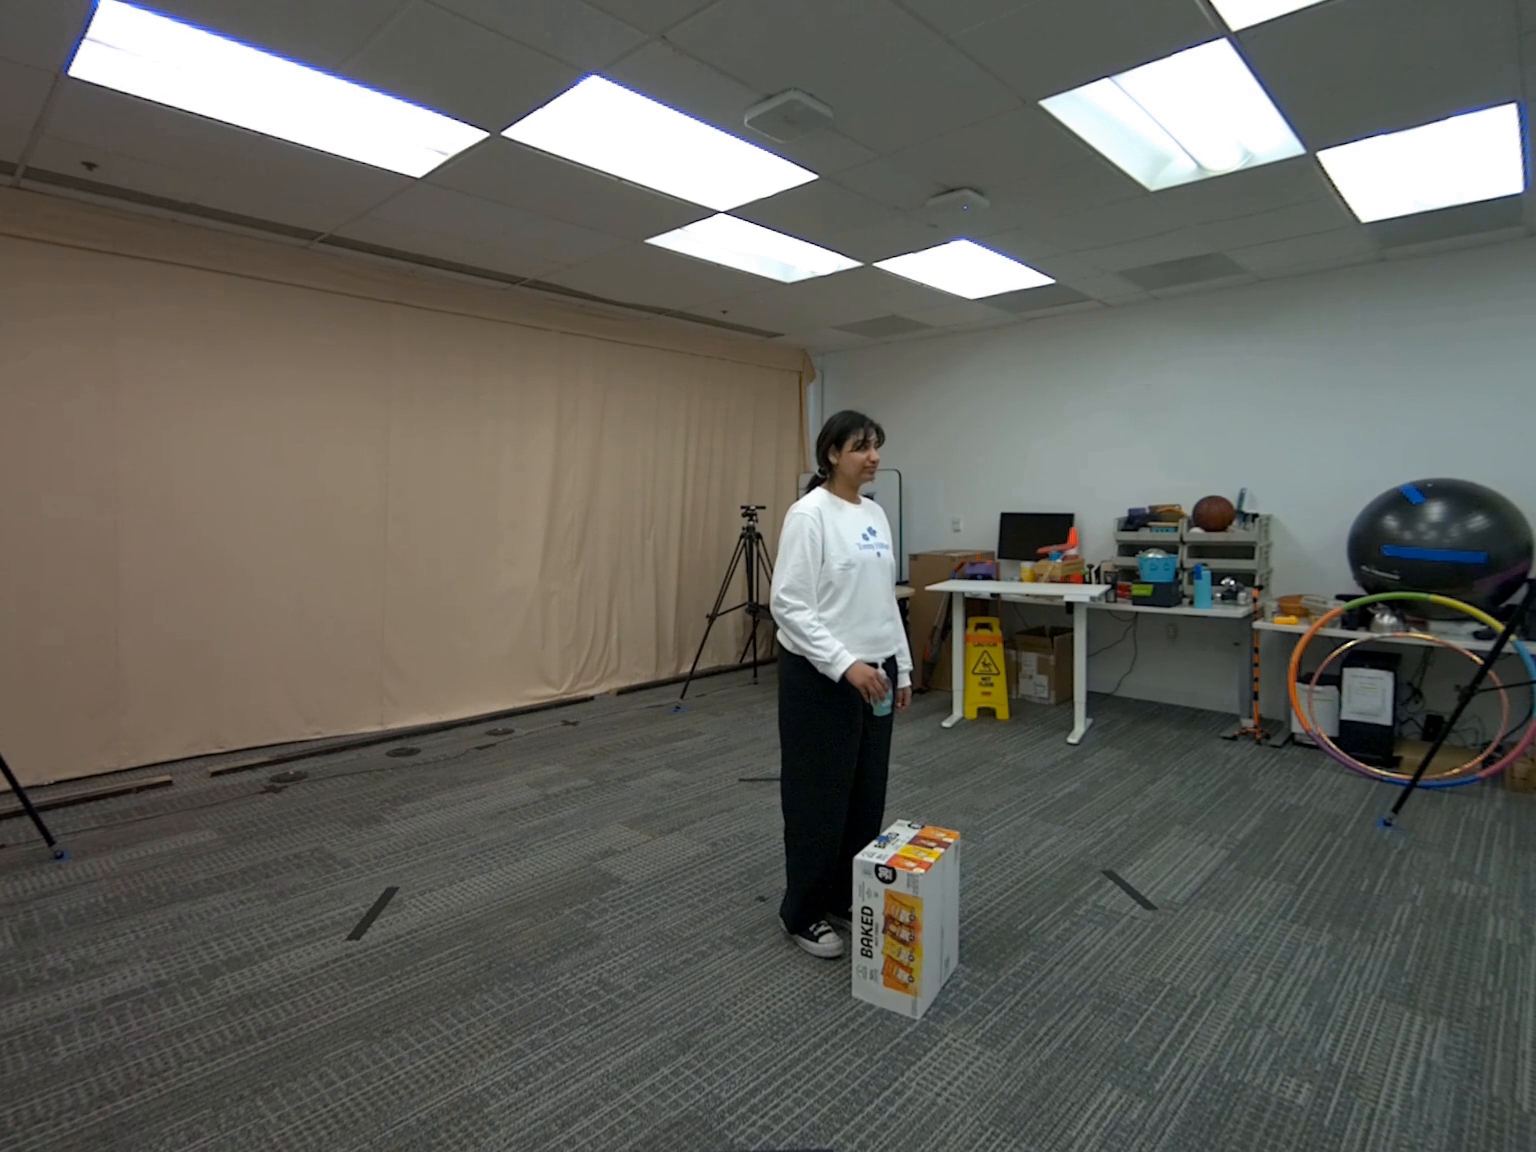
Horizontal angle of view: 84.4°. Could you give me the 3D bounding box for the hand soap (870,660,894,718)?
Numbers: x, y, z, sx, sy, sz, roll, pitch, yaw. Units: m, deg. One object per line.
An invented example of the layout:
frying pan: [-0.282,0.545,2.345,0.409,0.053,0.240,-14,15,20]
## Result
hand soap: [0.339,0.329,2.524,0.082,0.168,0.045,-7,4,-34]
